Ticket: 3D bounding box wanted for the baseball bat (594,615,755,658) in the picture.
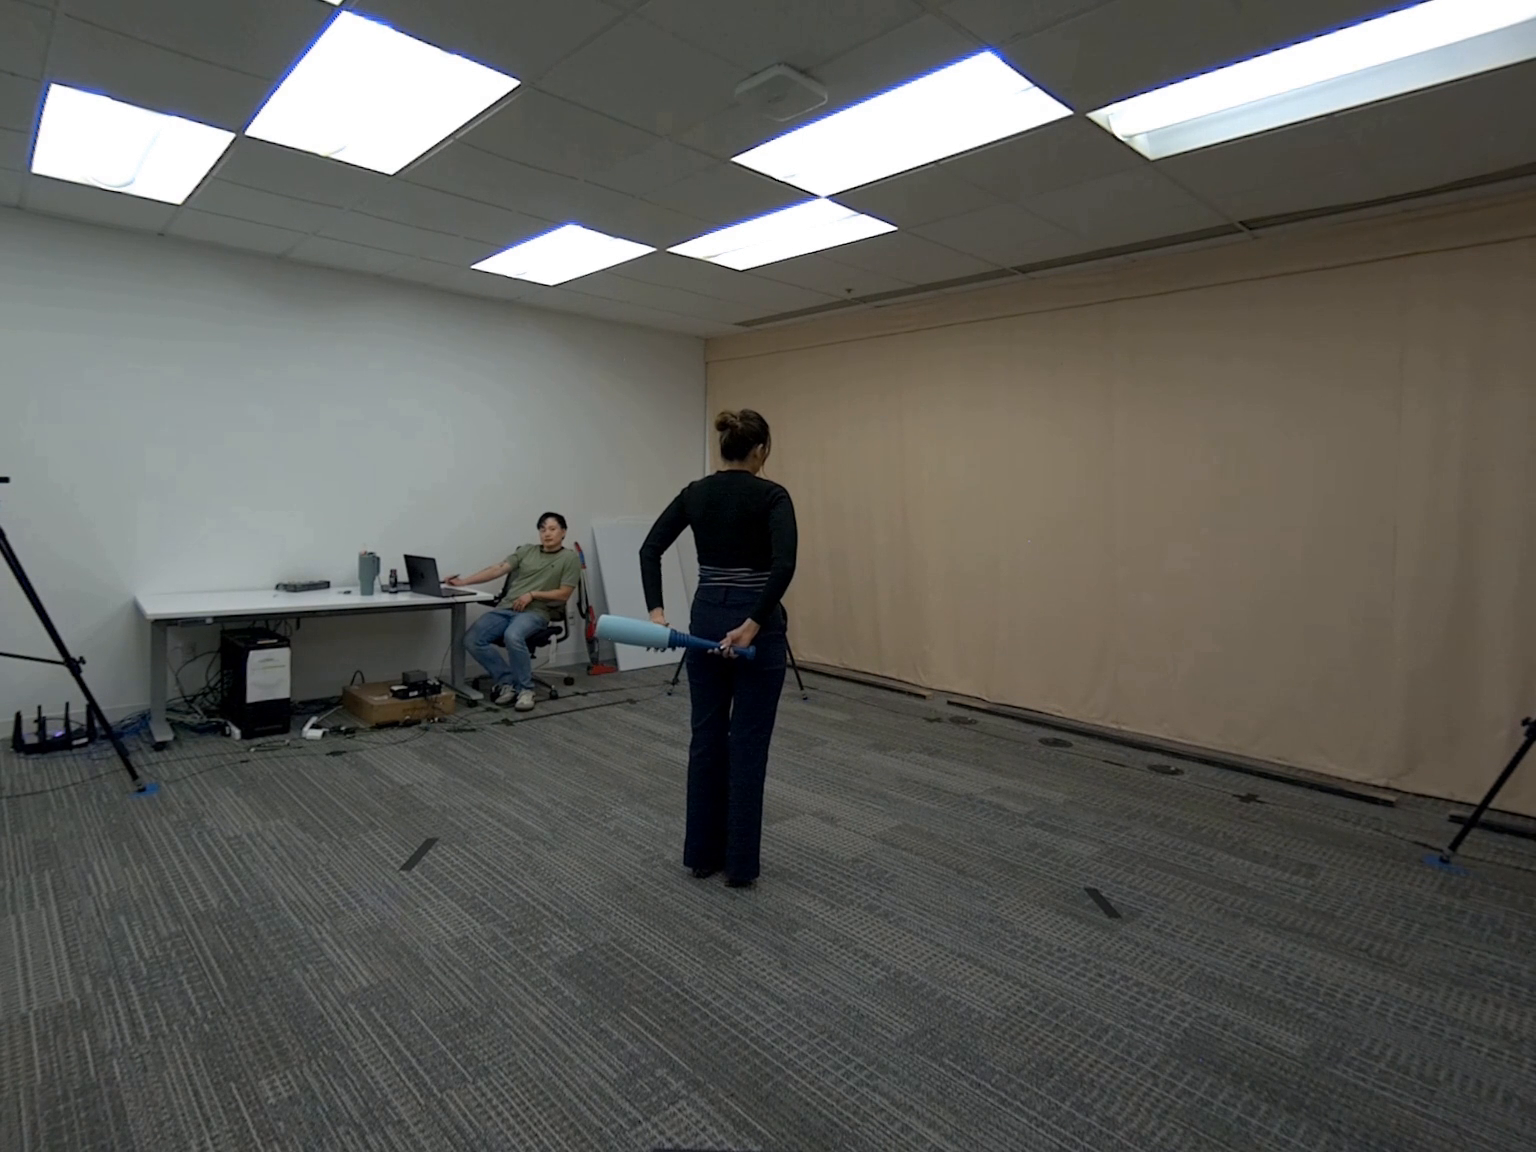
[{"bbox_3d":[-0.328,0.207,2.855,0.543,0.089,0.089,8,4,0],"label":"baseball bat"}]
